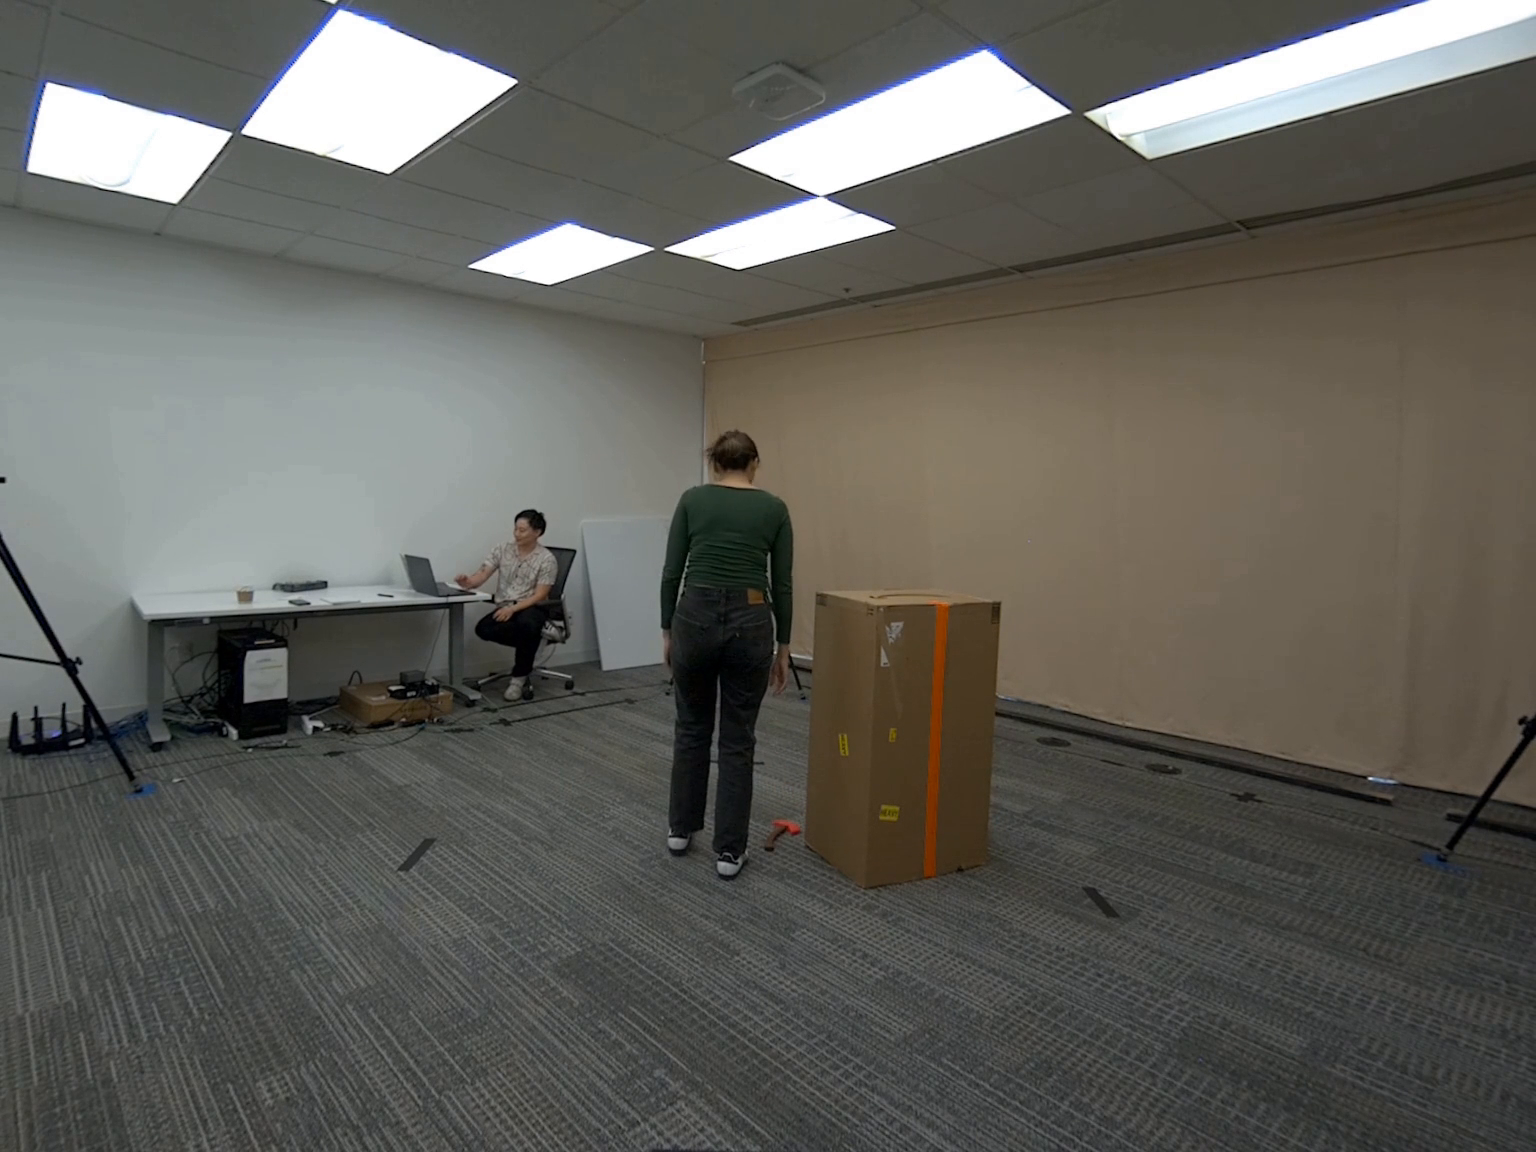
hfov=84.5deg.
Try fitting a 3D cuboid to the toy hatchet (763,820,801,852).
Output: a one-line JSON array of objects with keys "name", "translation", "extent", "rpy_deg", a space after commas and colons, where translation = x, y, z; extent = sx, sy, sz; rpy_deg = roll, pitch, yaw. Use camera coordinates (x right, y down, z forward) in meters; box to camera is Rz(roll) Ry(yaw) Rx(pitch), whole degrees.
[{"name": "toy hatchet", "translation": [0.060, 1.062, 3.441], "extent": [0.132, 0.029, 0.269], "rpy_deg": [4, 8, 8]}]
